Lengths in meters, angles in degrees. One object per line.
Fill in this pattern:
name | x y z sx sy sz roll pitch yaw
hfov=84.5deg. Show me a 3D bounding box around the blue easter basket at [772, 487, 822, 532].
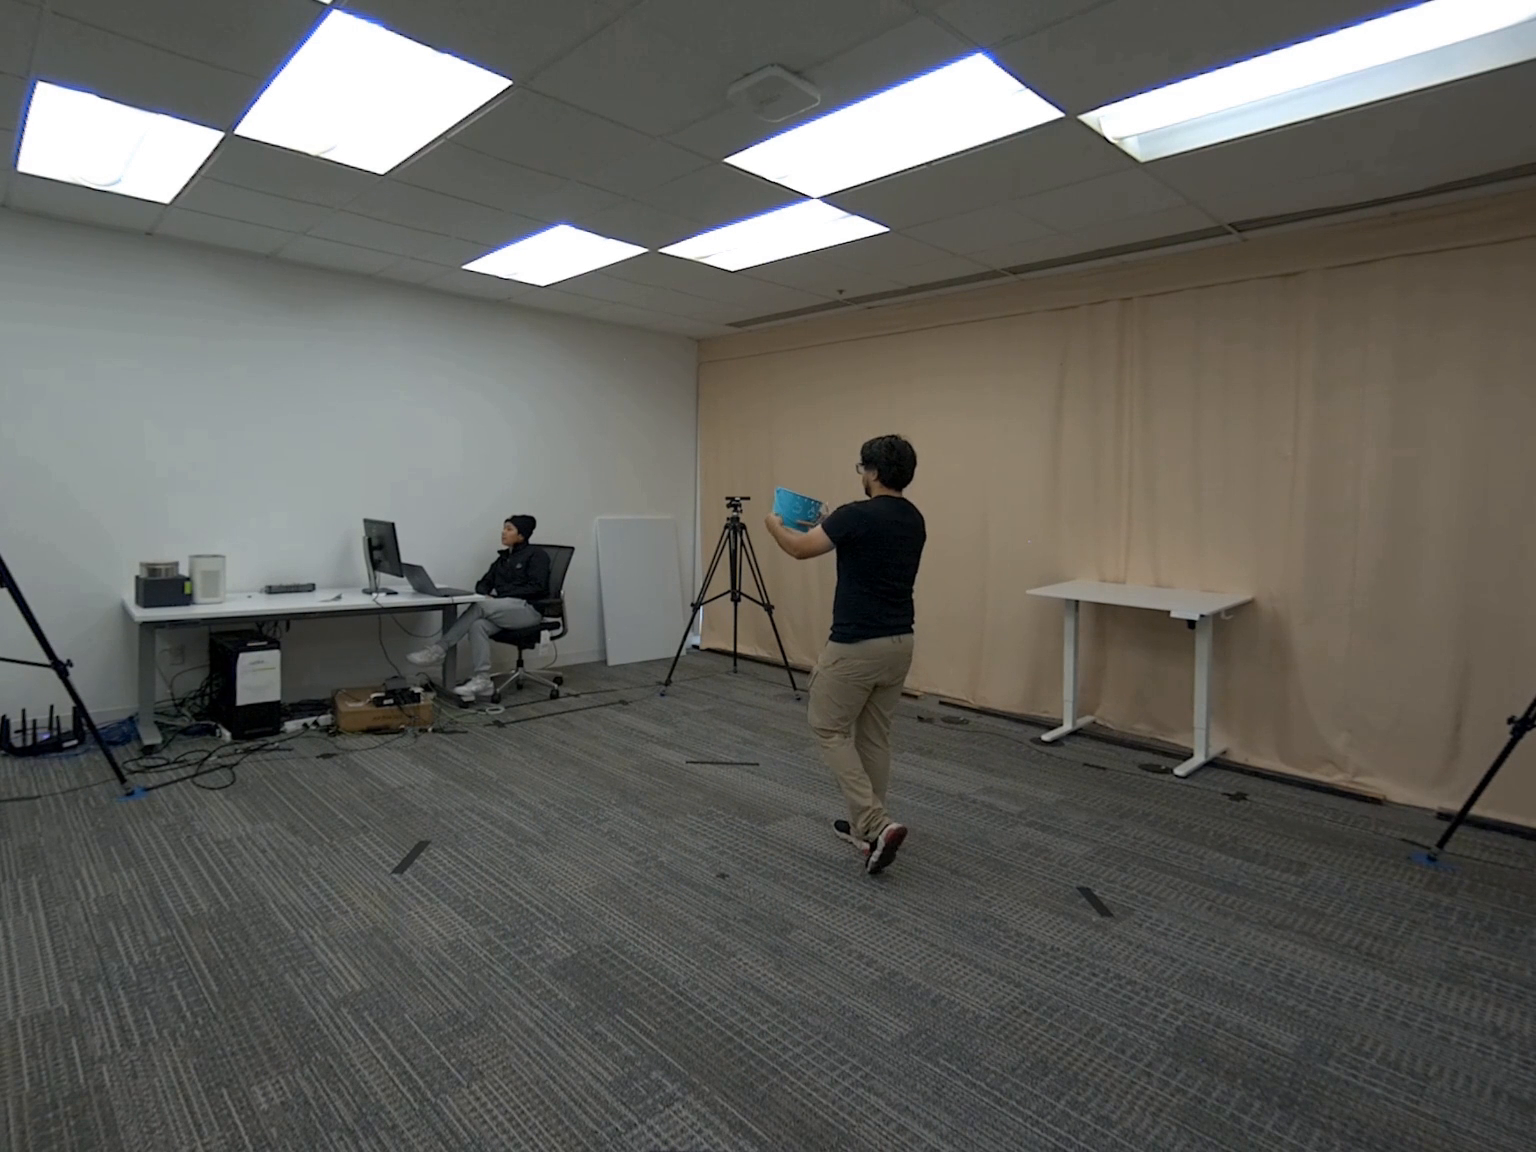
blue easter basket | 0.121 -0.284 3.752 0.243 0.155 0.244 19 4 -3
